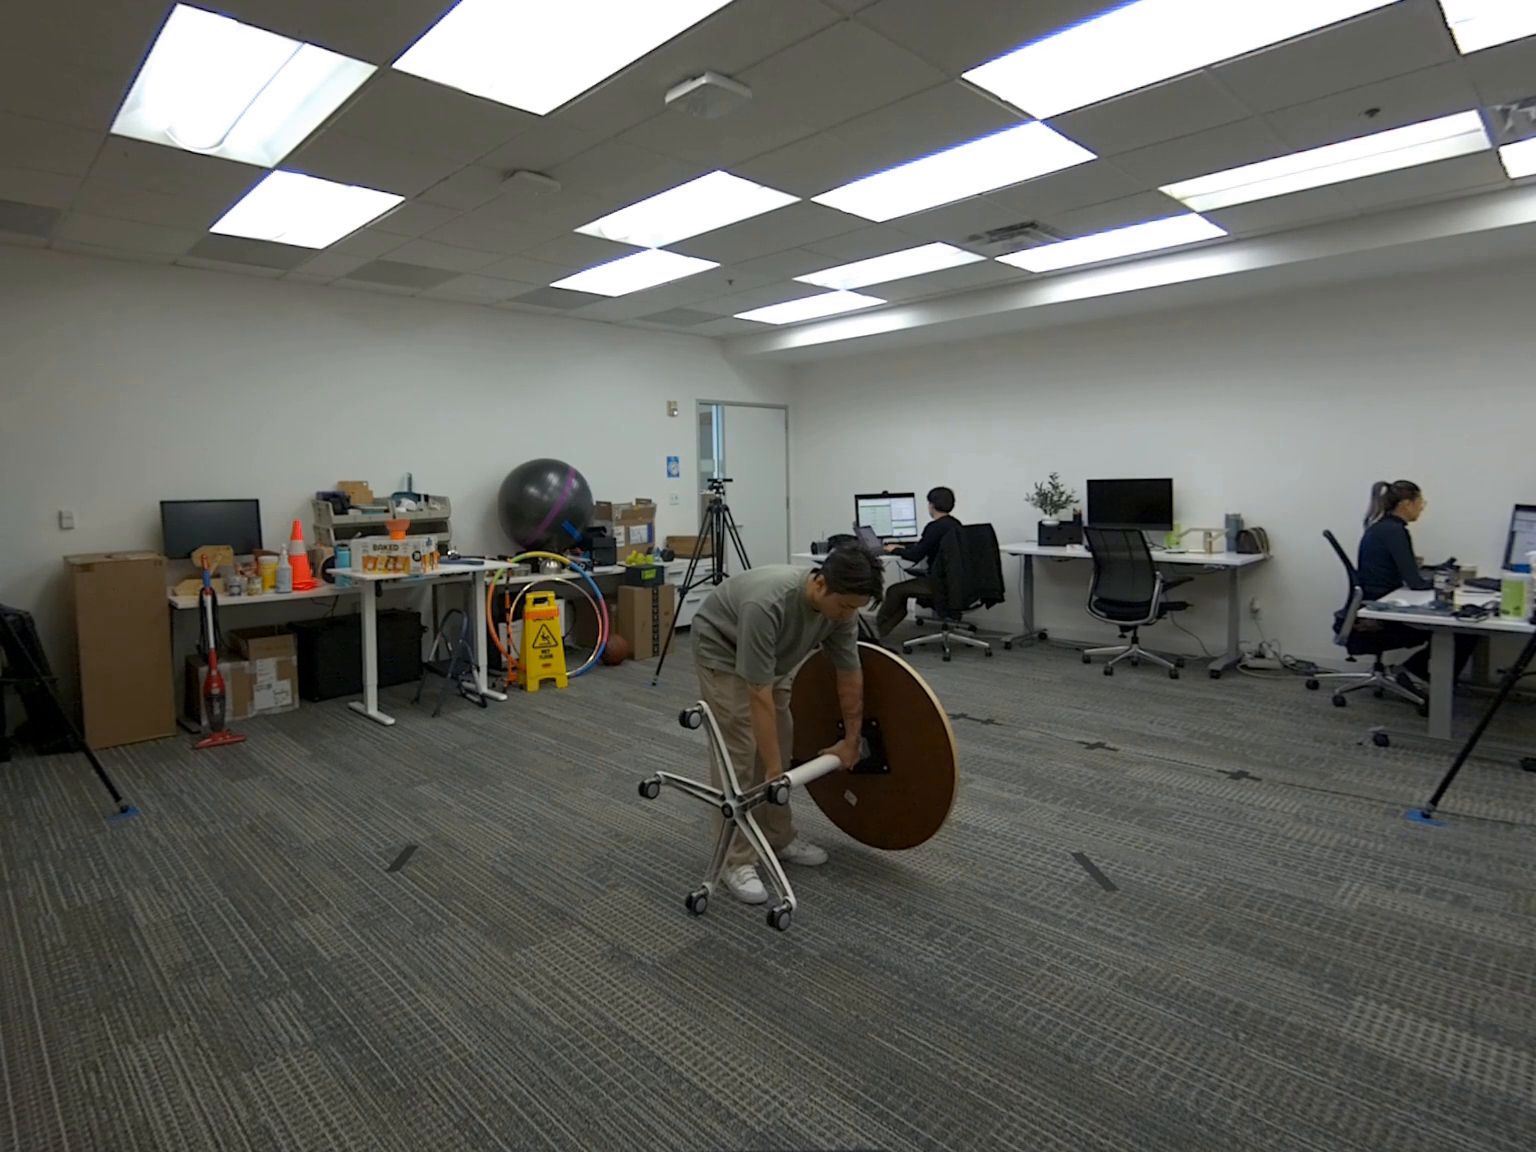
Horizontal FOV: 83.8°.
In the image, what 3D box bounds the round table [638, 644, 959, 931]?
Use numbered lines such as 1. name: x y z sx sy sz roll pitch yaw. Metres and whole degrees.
1. round table: 0.098 0.687 2.873 0.809 0.779 0.769 4 12 44
